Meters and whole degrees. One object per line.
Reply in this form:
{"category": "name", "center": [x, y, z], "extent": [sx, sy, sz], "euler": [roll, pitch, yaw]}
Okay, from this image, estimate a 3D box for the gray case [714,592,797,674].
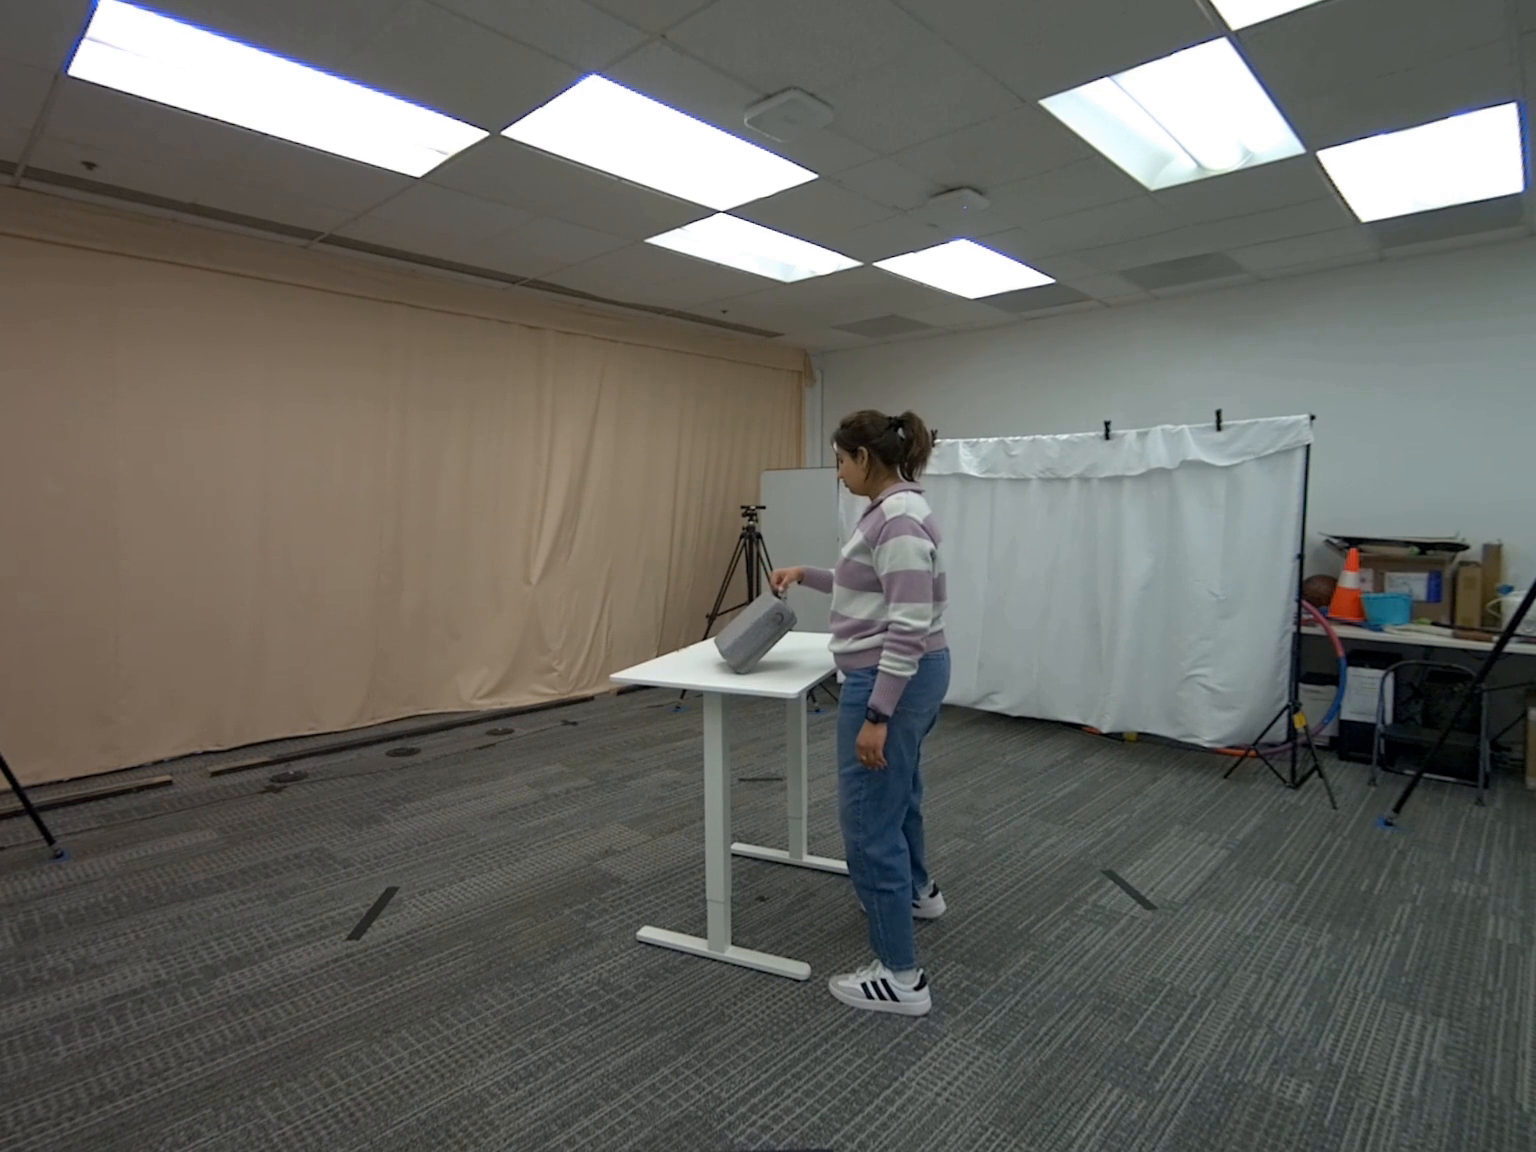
{"category": "gray case", "center": [-0.044, 0.171, 2.659], "extent": [0.103, 0.260, 0.259], "euler": [44, -3, -7]}
